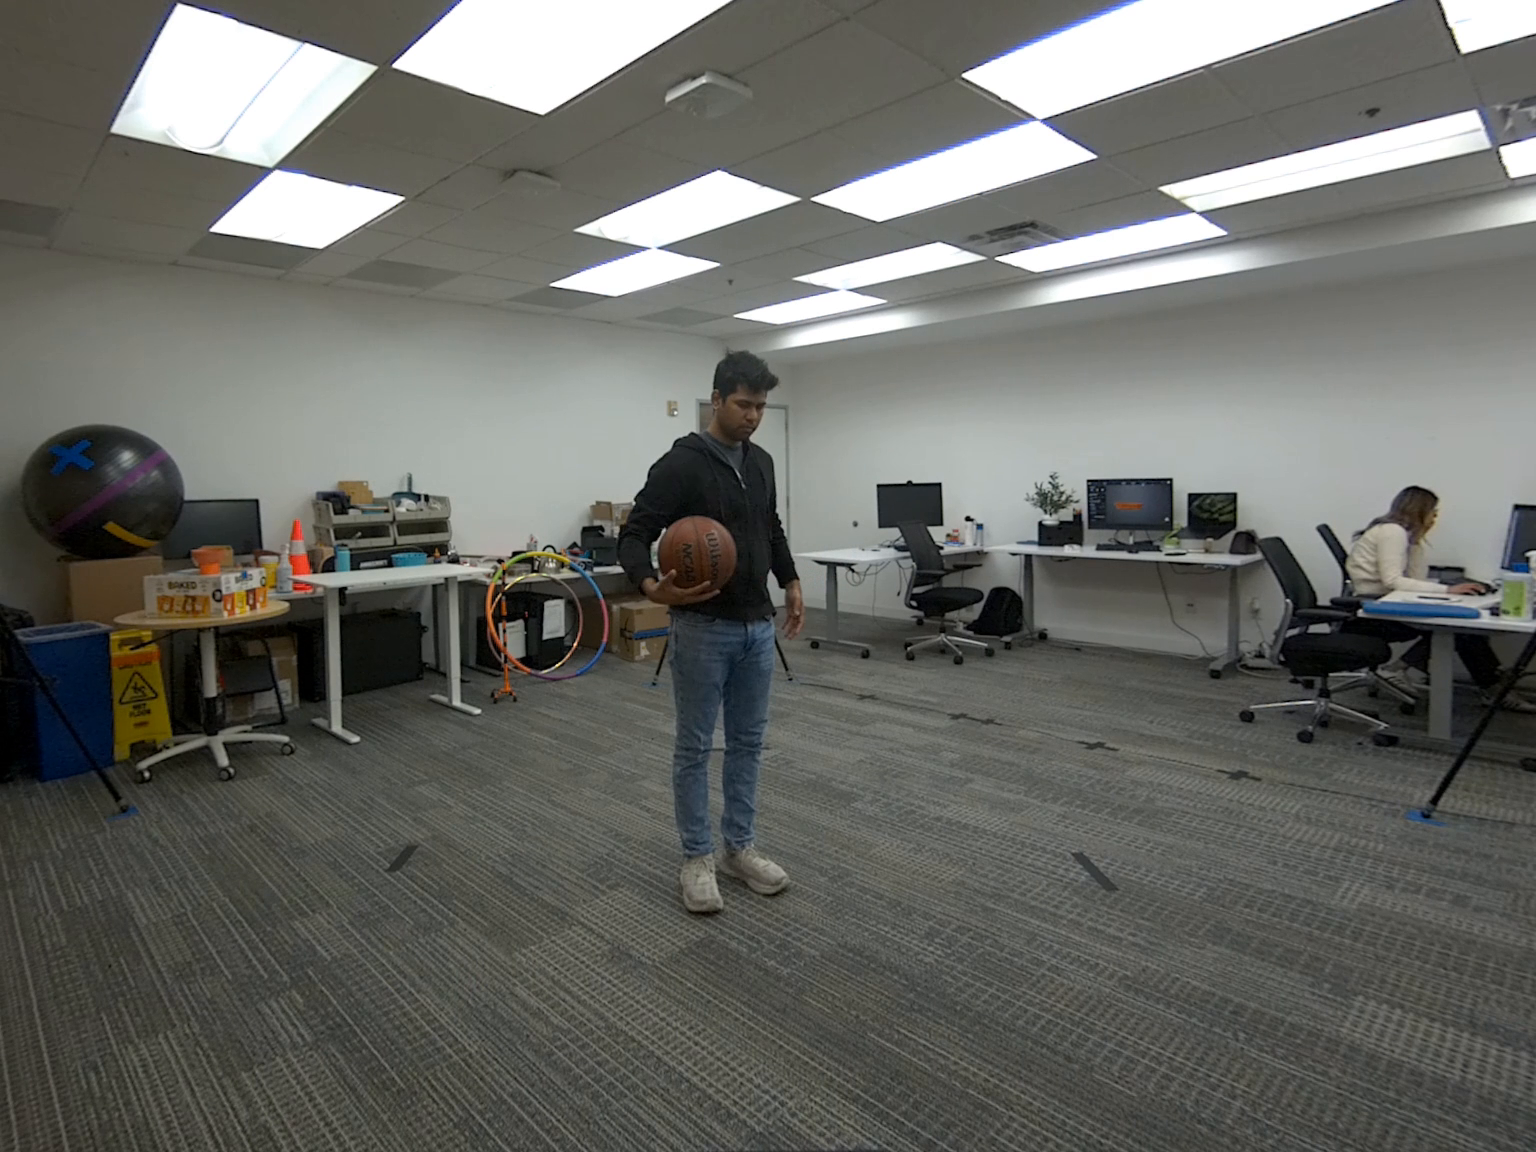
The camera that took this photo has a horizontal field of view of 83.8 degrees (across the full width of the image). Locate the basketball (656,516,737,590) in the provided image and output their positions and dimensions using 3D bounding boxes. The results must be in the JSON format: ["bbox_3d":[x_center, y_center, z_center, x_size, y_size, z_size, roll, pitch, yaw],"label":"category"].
[{"bbox_3d":[-0.214,-0.067,2.572,0.236,0.235,0.237,-1,5,-2],"label":"basketball"}]
